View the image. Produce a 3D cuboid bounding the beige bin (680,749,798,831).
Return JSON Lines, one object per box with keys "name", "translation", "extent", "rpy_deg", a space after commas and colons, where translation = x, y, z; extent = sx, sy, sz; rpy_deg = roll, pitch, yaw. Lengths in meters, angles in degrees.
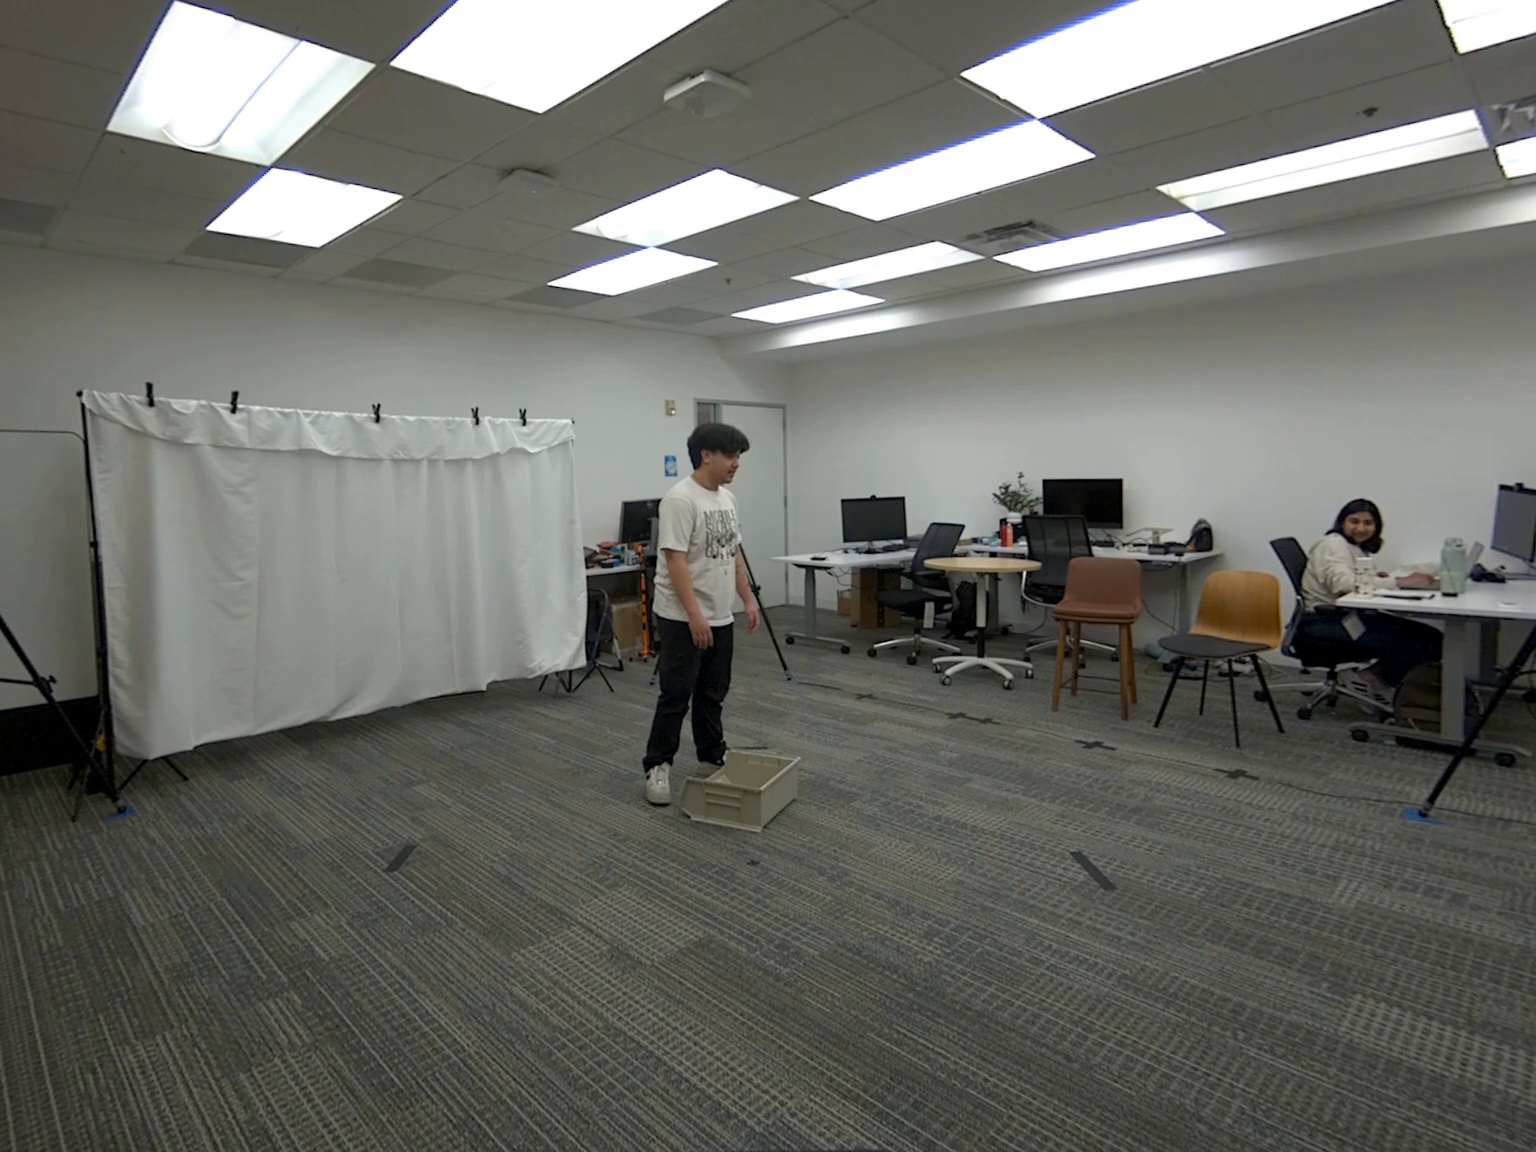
{"name": "beige bin", "translation": [-0.108, 0.895, 3.623], "extent": [0.386, 0.188, 0.414], "rpy_deg": [3, 6, 24]}
